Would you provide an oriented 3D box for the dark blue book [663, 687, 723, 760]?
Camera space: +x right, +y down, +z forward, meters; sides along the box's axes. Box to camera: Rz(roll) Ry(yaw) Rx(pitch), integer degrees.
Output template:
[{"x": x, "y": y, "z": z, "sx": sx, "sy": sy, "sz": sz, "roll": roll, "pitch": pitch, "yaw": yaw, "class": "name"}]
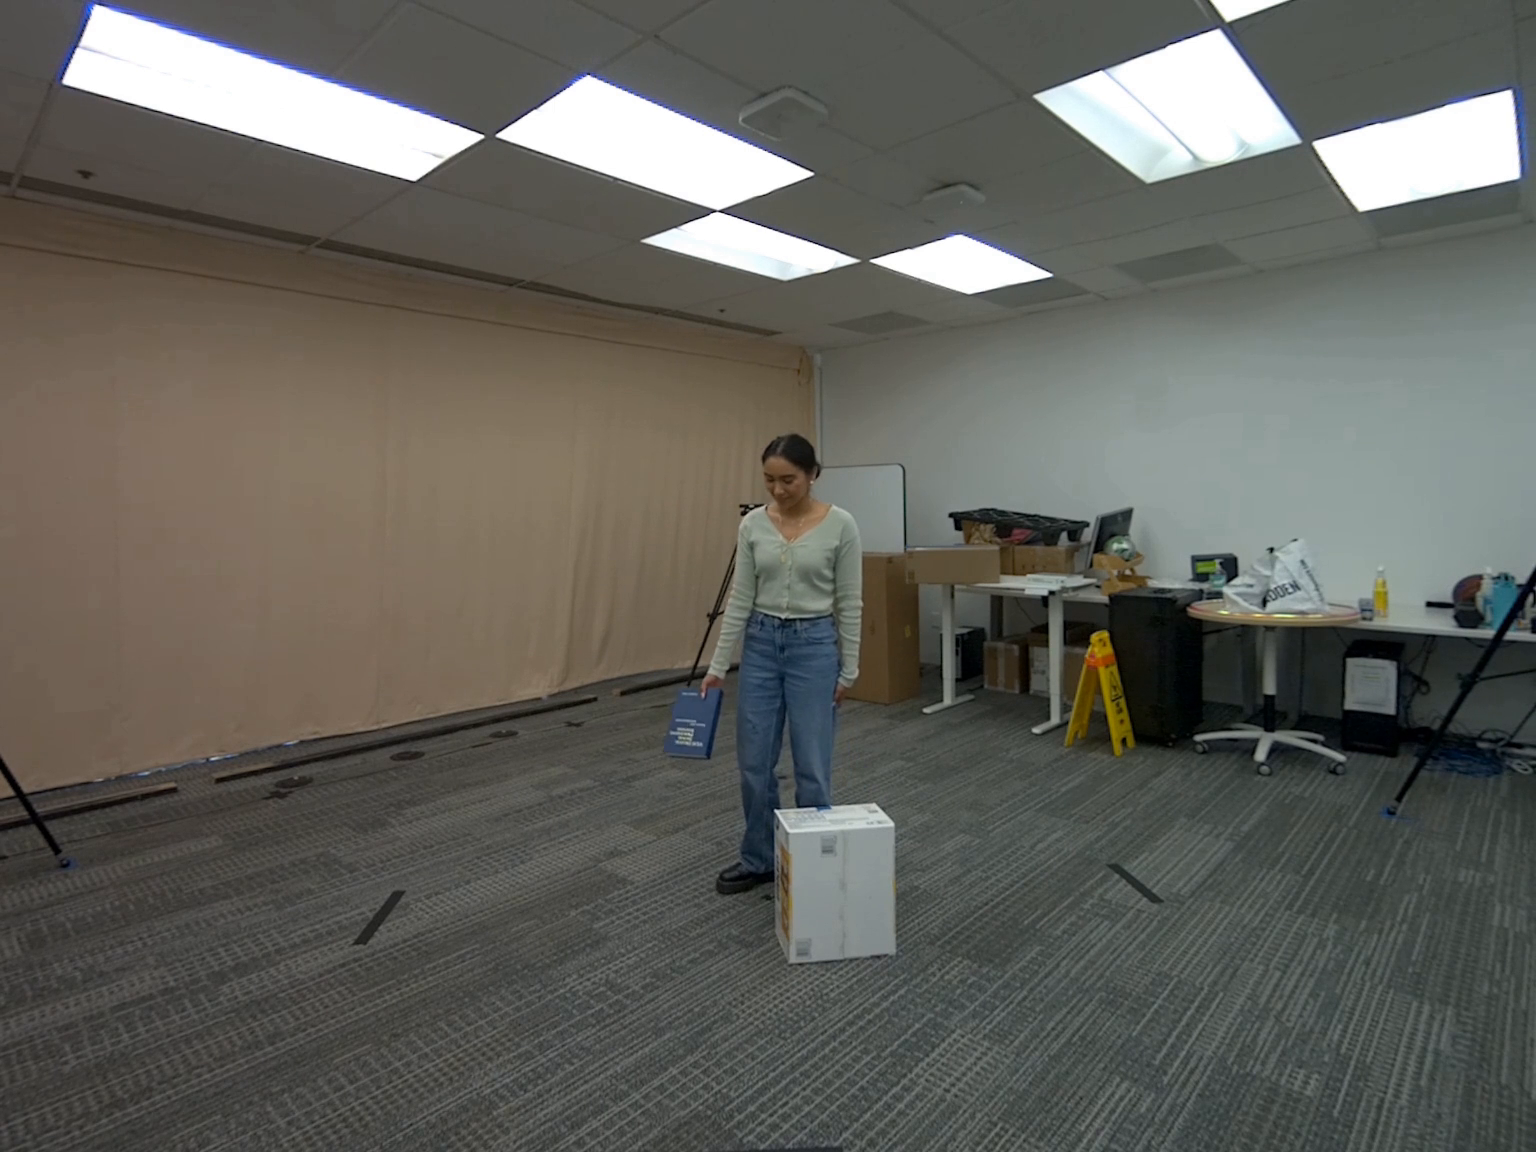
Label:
[{"x": -0.252, "y": 0.508, "z": 2.916, "sx": 0.167, "sy": 0.247, "sz": 0.044, "roll": -3, "pitch": -32, "yaw": 24, "class": "dark blue book"}]
